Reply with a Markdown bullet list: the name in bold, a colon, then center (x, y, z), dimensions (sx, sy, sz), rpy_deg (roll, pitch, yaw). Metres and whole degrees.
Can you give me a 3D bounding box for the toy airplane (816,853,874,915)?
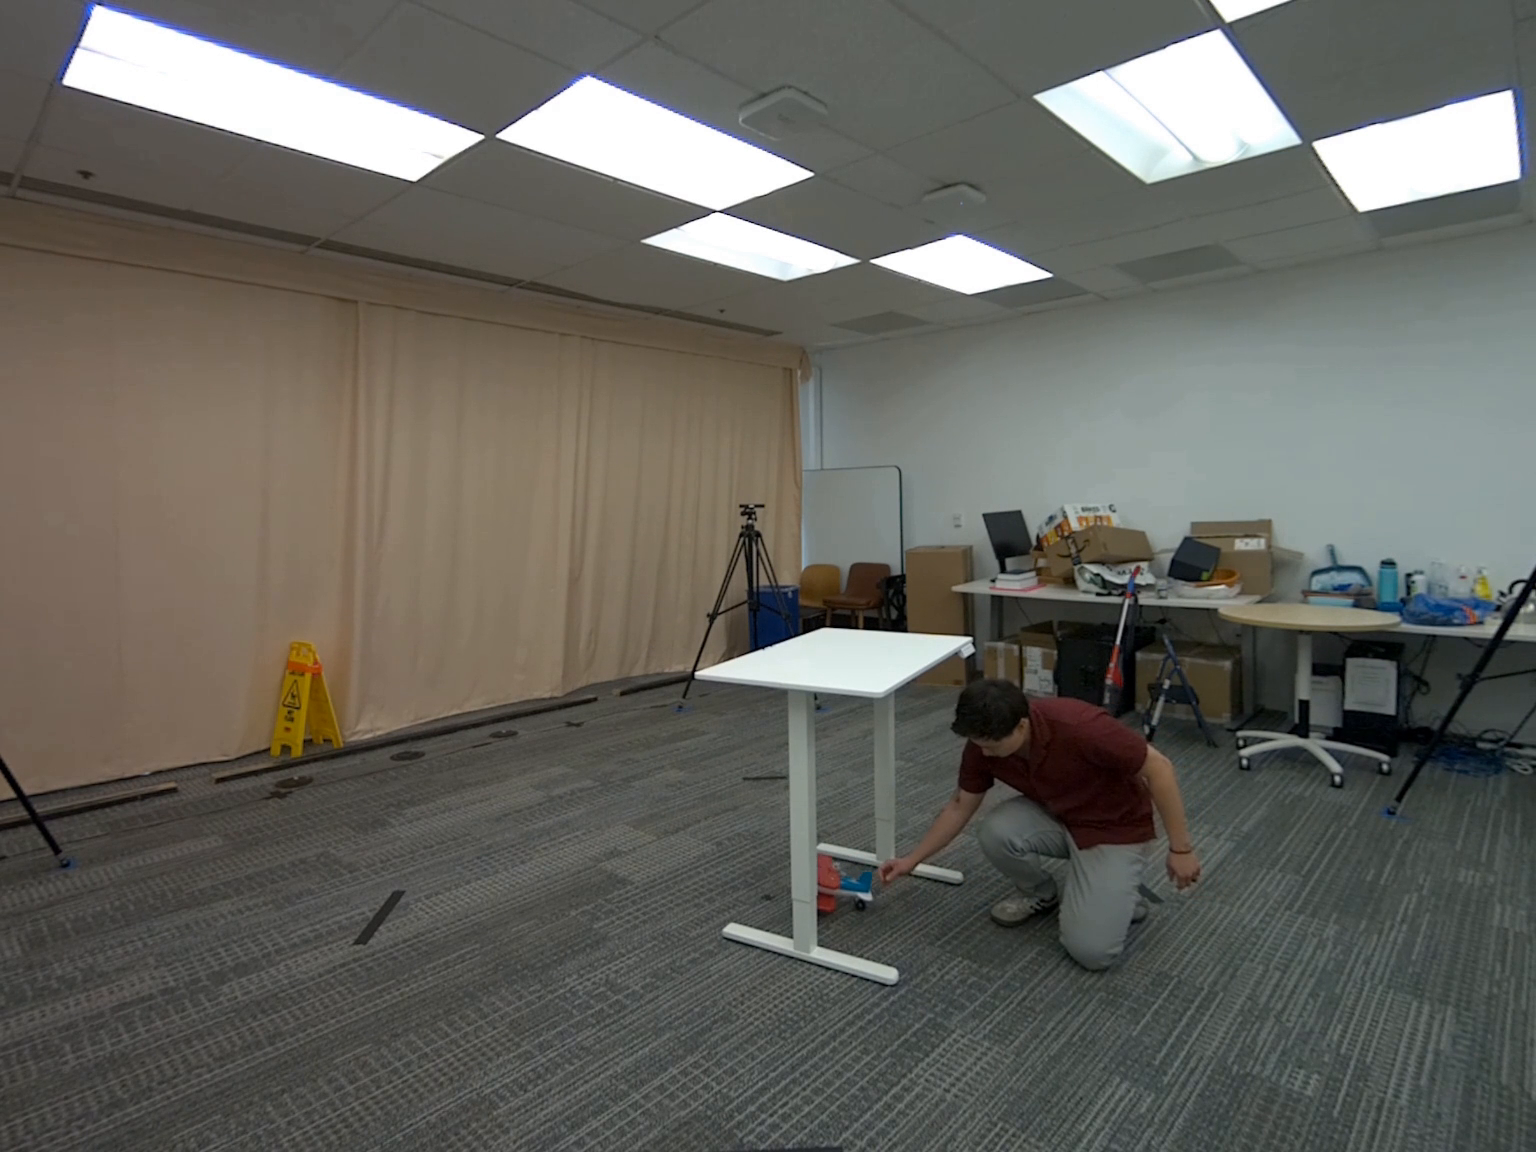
- **toy airplane**: center (0.234, 1.074, 2.910), dimensions (0.252, 0.156, 0.258), rpy_deg (-4, 5, -29)
